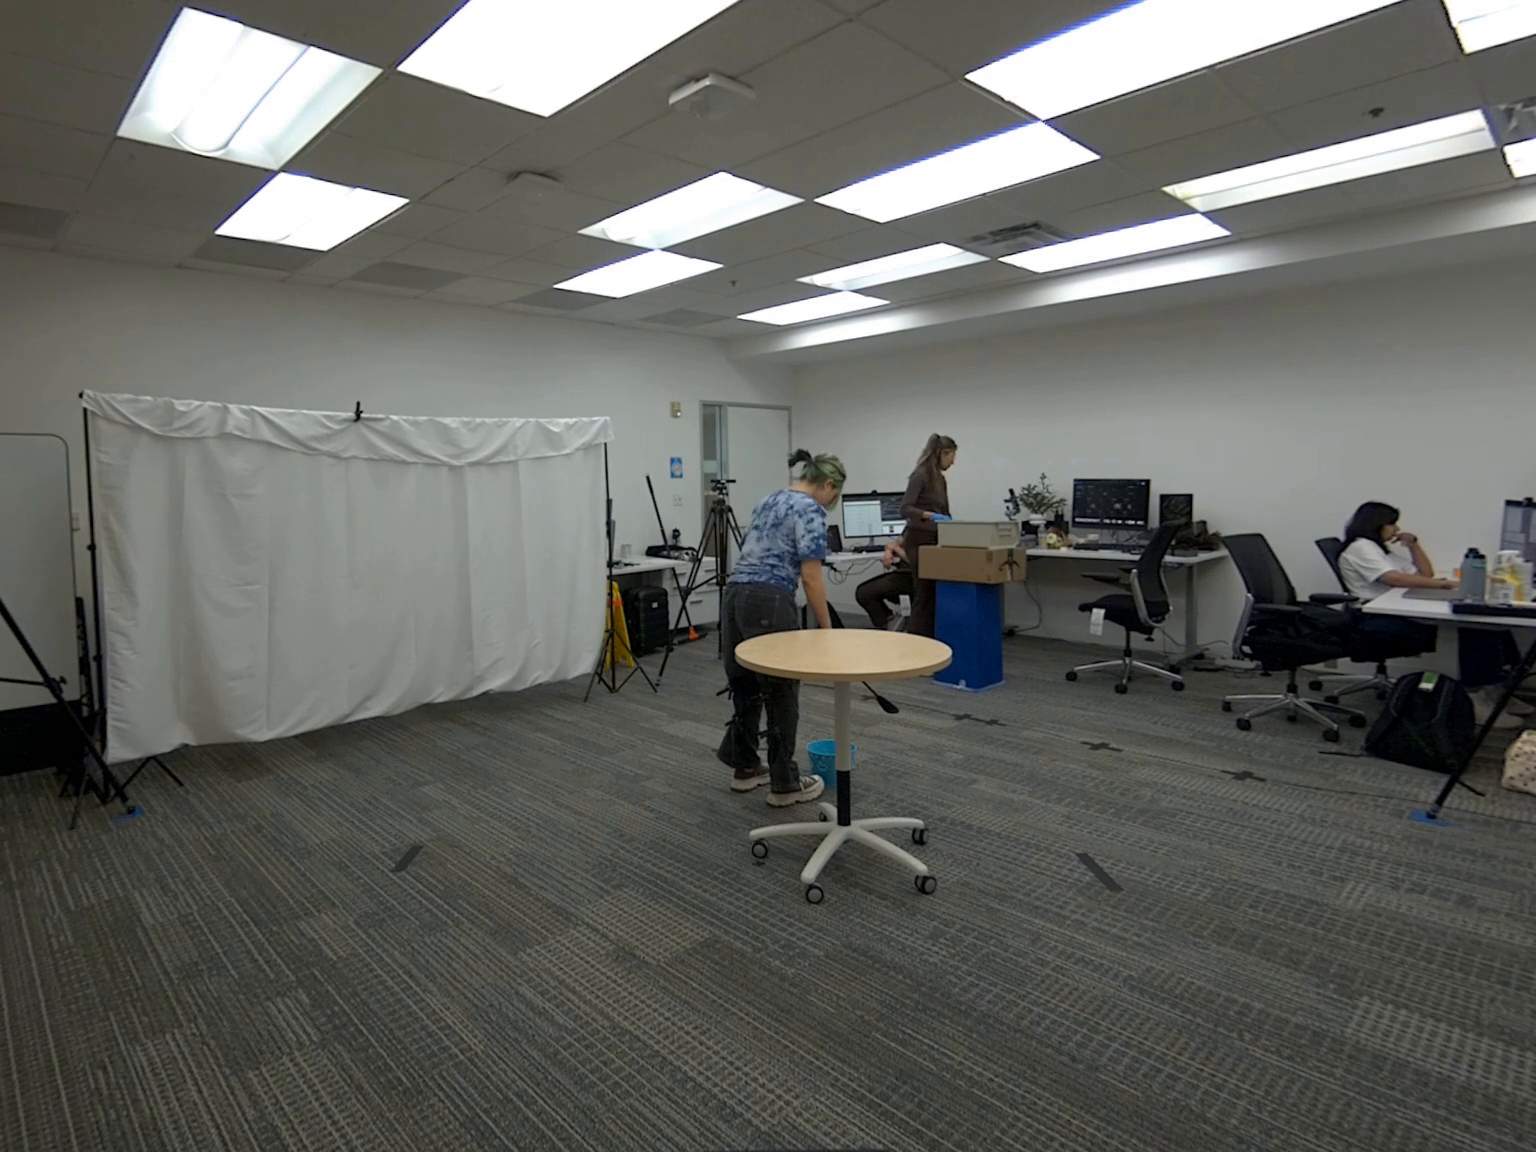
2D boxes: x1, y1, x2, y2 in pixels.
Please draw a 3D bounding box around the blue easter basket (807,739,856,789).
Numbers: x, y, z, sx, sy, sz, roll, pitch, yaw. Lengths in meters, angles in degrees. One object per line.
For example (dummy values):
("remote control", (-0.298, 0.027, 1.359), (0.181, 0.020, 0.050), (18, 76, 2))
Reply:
("blue easter basket", (0.303, 0.870, 3.969), (0.243, 0.155, 0.245), (-1, 5, -2))
